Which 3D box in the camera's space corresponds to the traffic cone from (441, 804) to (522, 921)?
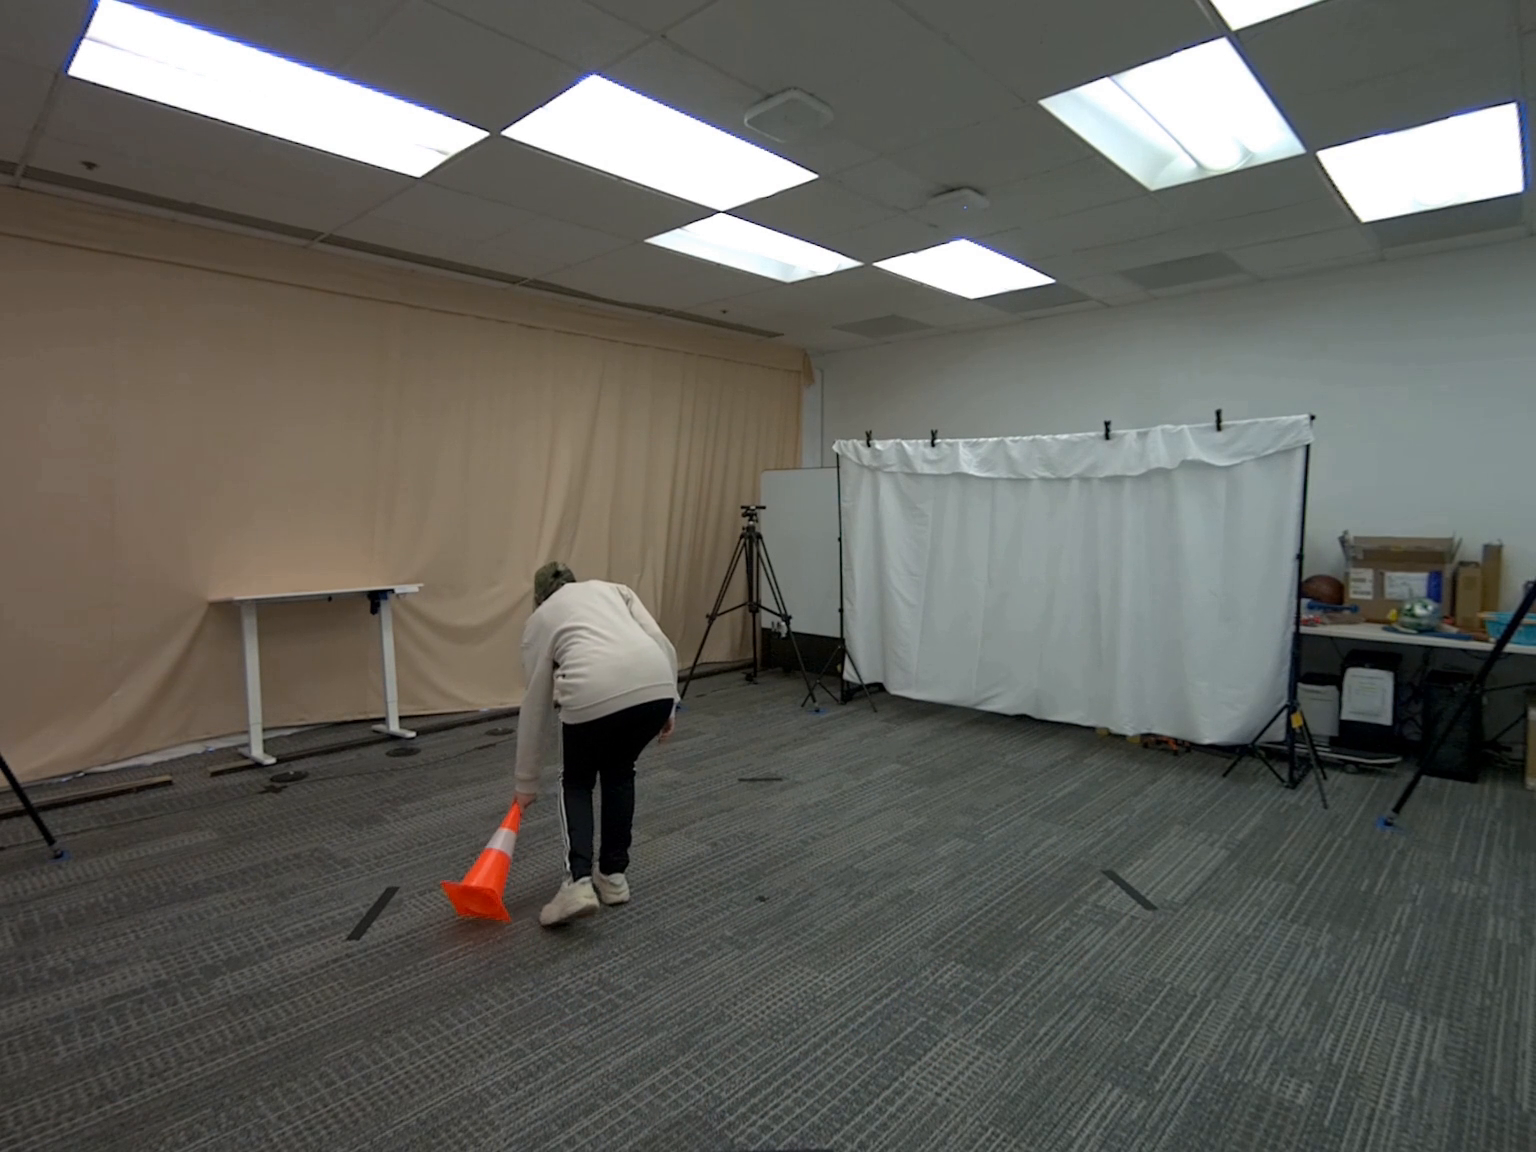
[{"bbox_3d":[-0.934,0.962,2.915,0.208,0.198,0.387,-4,38,13],"label":"traffic cone"}]
